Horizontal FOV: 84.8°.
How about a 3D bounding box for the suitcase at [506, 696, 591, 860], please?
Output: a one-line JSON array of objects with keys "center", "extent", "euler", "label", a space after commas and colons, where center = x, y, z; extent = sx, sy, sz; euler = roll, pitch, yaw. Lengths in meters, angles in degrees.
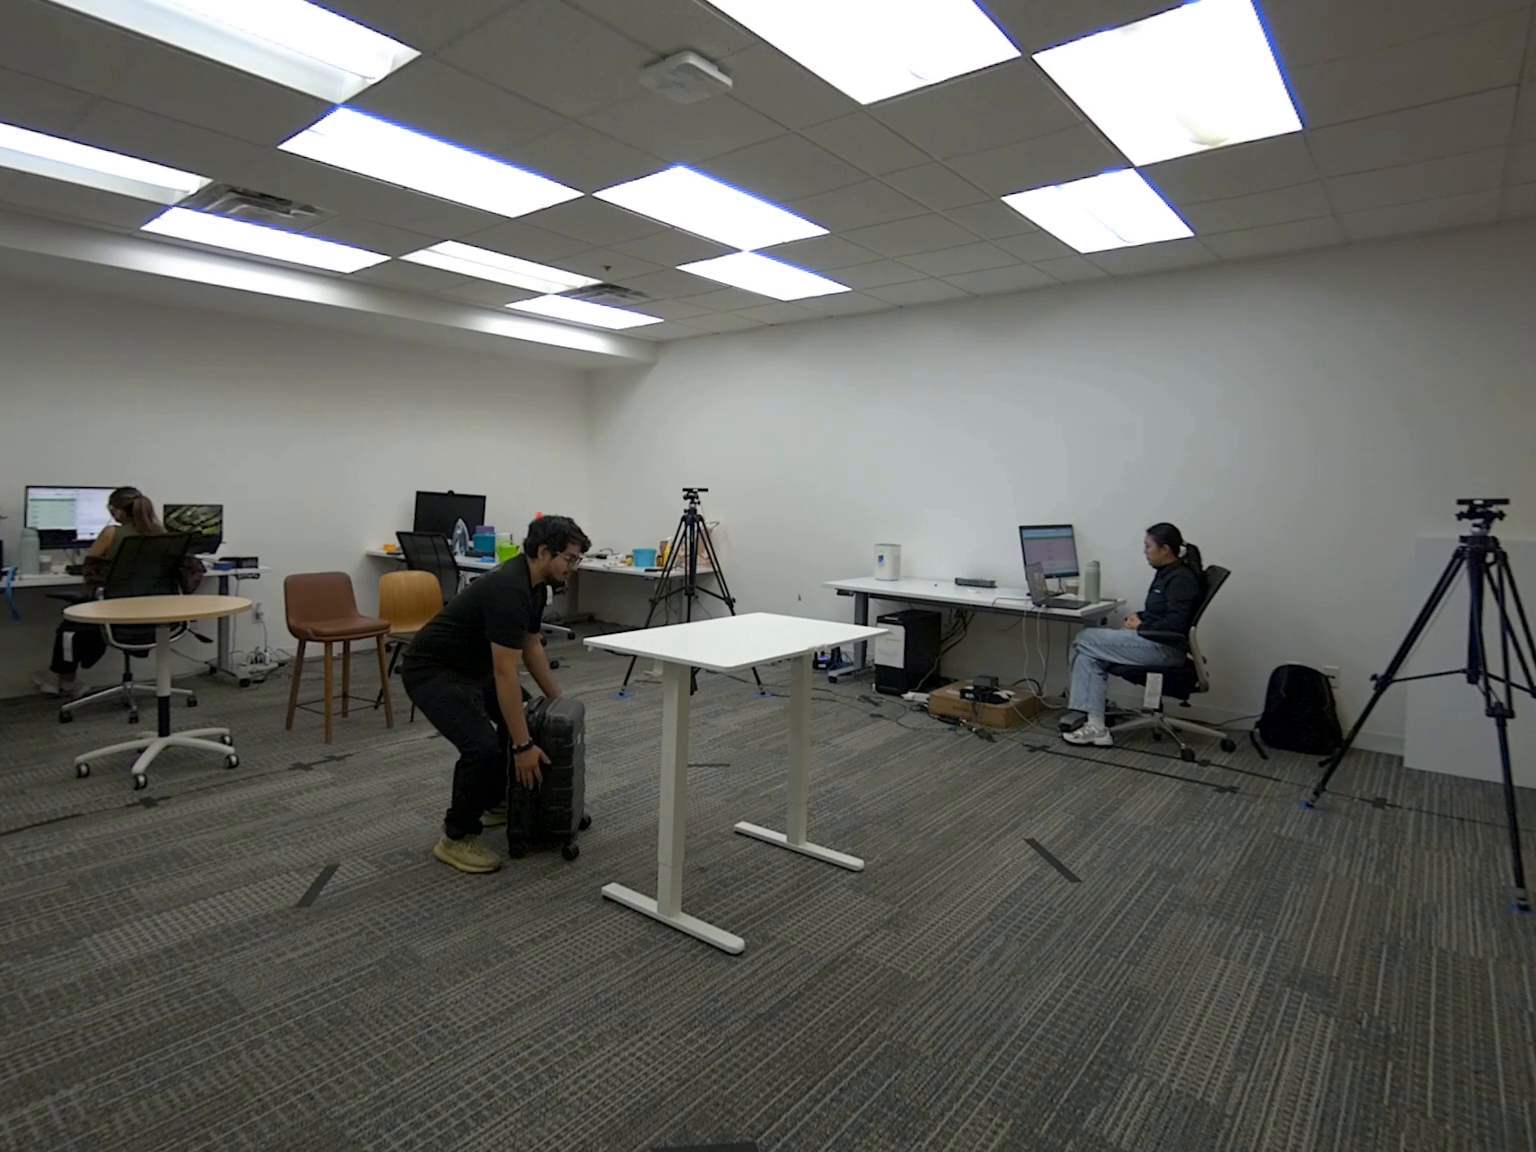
[{"center": [-0.871, 0.761, 3.327], "extent": [0.248, 0.548, 0.377], "euler": [2, 2, -3], "label": "suitcase"}]
